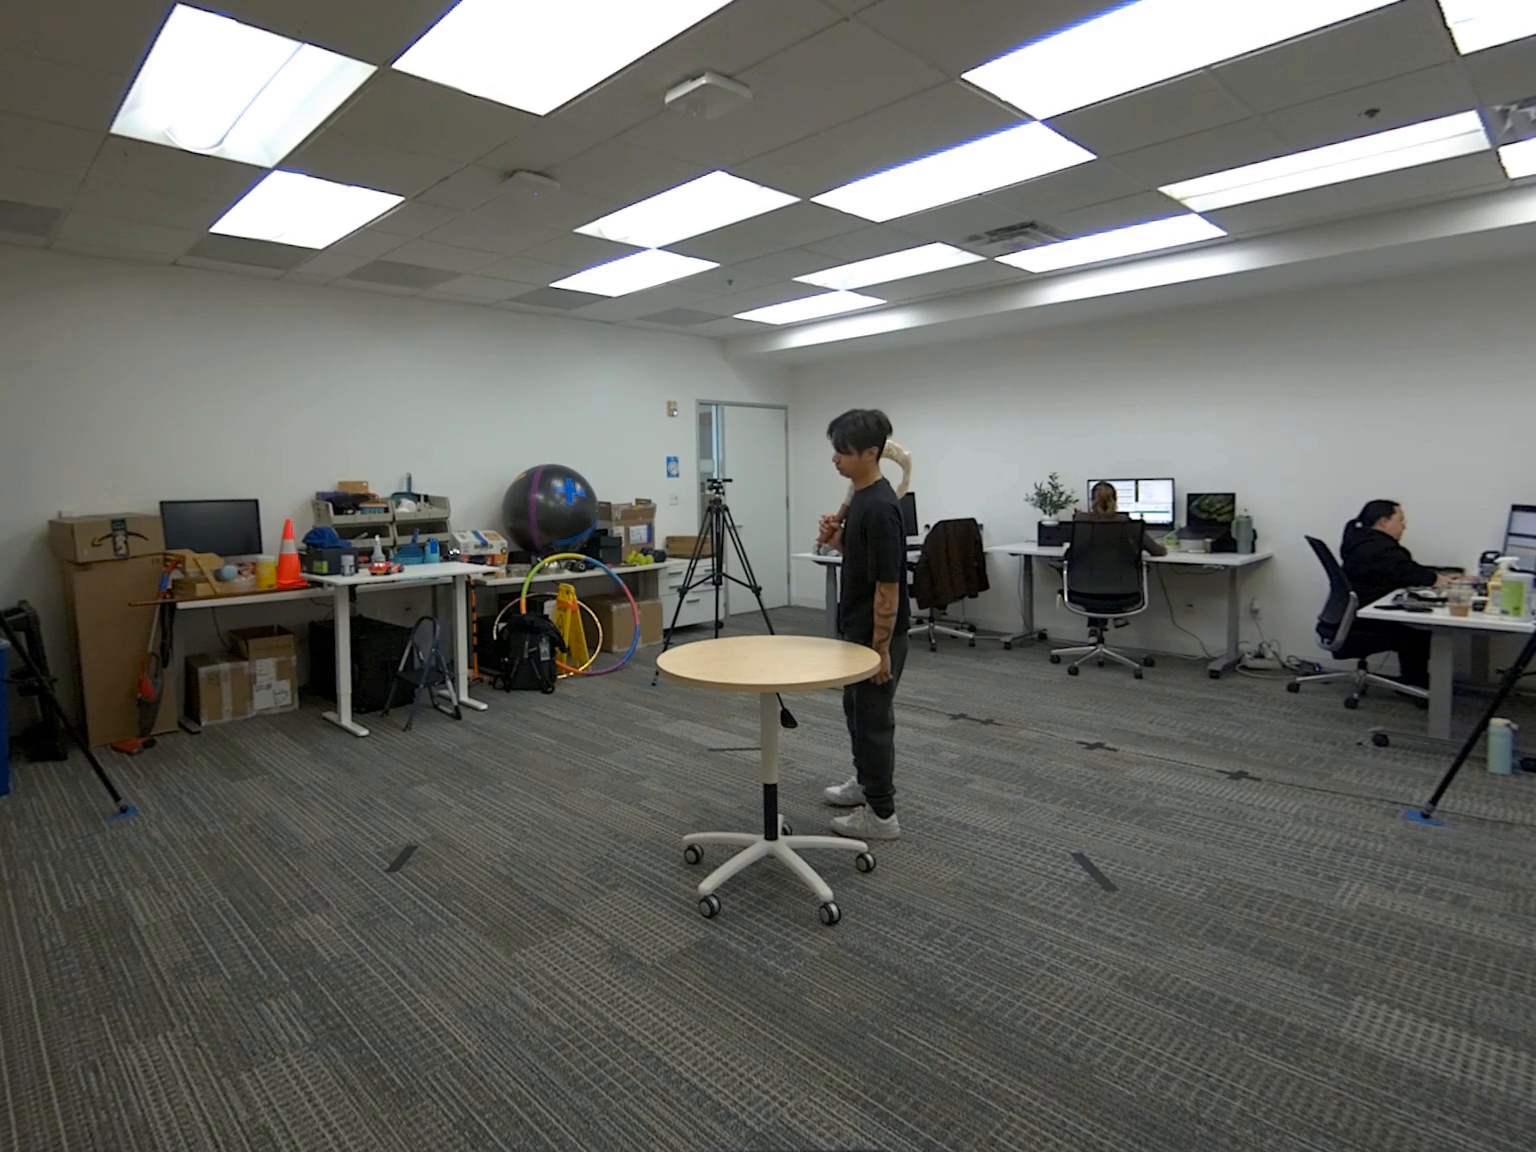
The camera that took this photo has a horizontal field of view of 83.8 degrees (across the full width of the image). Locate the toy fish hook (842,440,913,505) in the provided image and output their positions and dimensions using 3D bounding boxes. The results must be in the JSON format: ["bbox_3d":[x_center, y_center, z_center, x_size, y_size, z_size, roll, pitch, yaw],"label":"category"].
[{"bbox_3d":[0.393,-0.295,3.325,0.227,0.506,0.047,32,0,10],"label":"toy fish hook"}]
